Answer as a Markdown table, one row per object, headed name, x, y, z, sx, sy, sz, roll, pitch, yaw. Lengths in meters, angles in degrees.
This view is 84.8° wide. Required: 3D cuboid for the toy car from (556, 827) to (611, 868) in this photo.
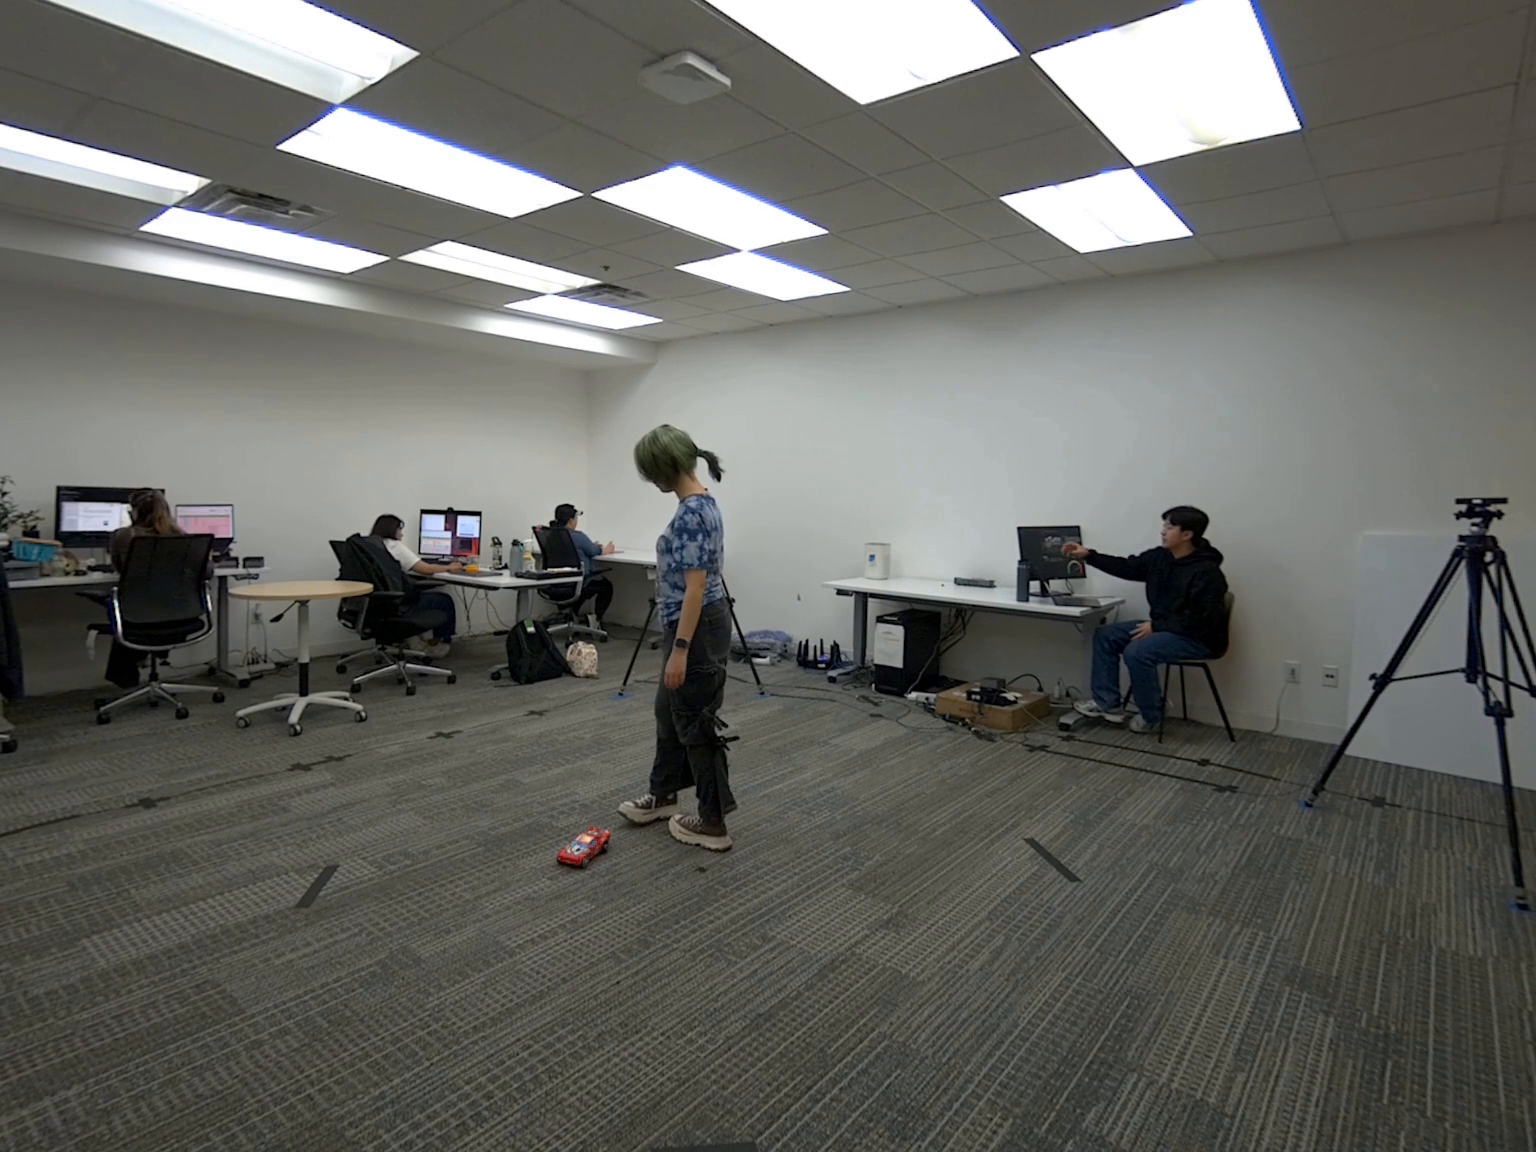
| name | x | y | z | sx | sy | sz | roll | pitch | yaw |
| --- | --- | --- | --- | --- | --- | --- | --- | --- | --- |
| toy car | -0.701 | 1.024 | 3.208 | 0.133 | 0.082 | 0.252 | 1 | 15 | 20 |
